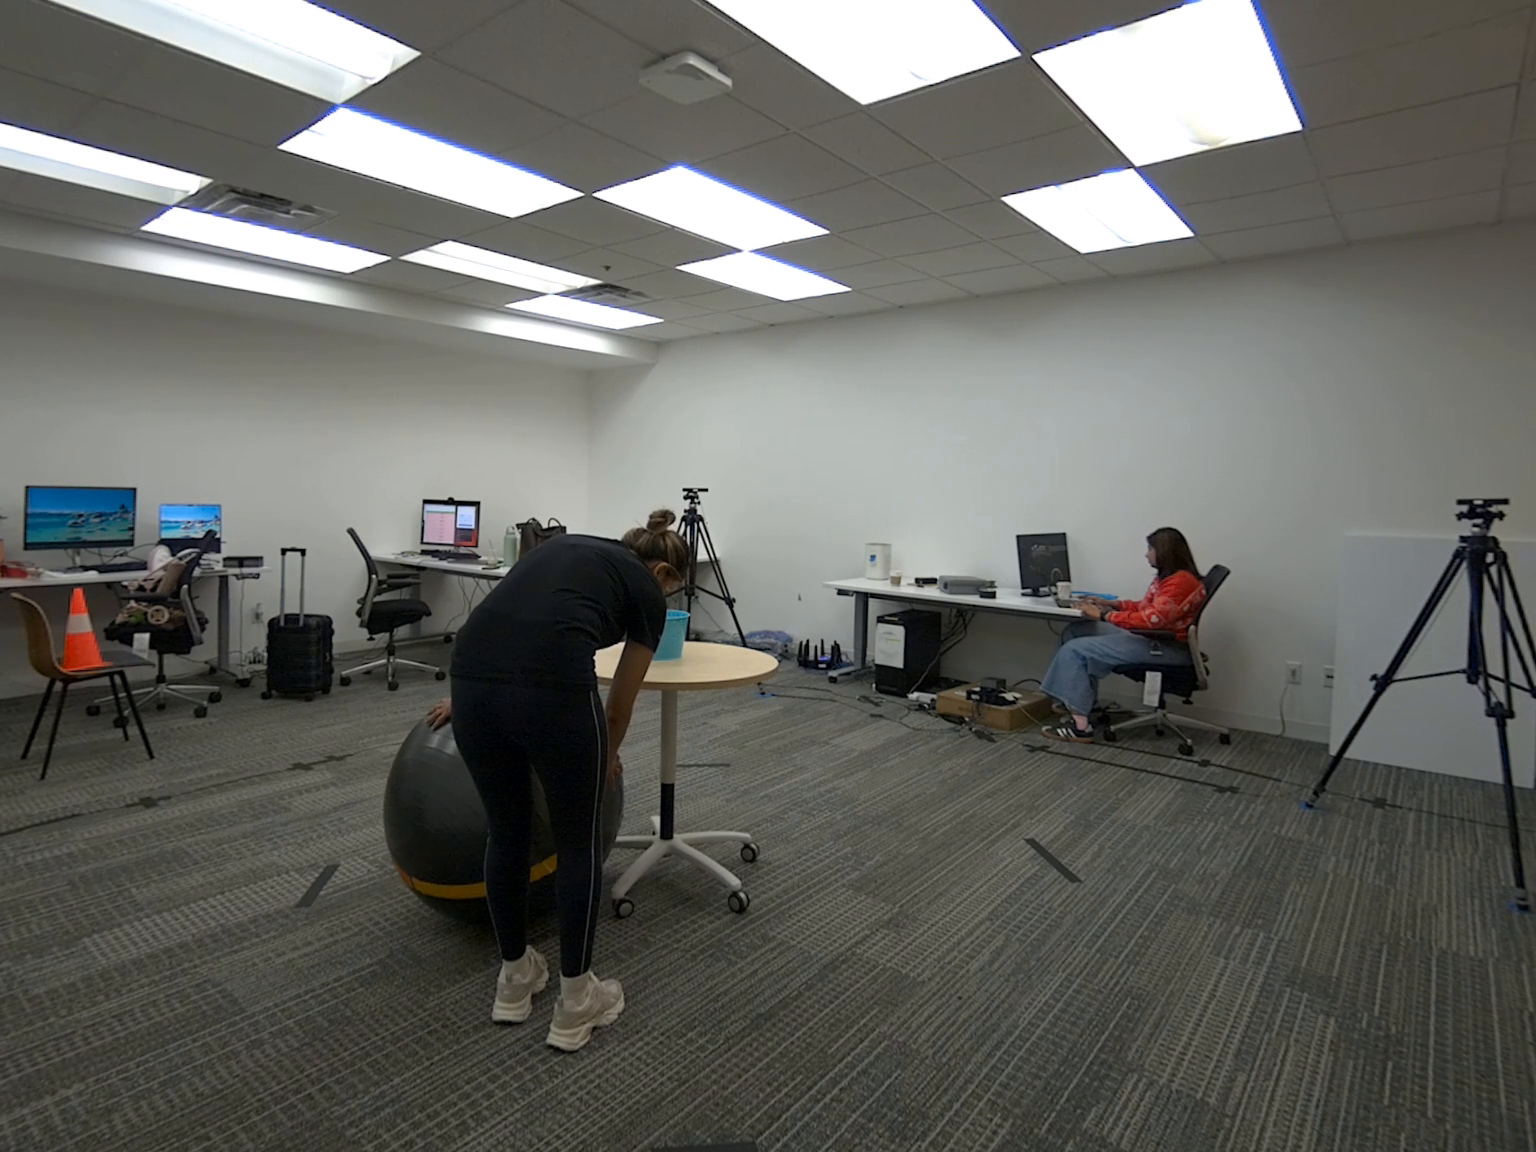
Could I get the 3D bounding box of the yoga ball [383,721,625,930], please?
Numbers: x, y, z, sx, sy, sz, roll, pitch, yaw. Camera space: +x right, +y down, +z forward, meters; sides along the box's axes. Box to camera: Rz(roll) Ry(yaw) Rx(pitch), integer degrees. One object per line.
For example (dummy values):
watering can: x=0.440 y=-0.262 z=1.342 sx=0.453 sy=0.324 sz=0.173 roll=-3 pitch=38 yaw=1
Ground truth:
yoga ball: x=-0.872 y=0.726 z=2.761 sx=0.757 sy=0.756 sz=0.761 roll=1 pitch=4 yaw=-2
